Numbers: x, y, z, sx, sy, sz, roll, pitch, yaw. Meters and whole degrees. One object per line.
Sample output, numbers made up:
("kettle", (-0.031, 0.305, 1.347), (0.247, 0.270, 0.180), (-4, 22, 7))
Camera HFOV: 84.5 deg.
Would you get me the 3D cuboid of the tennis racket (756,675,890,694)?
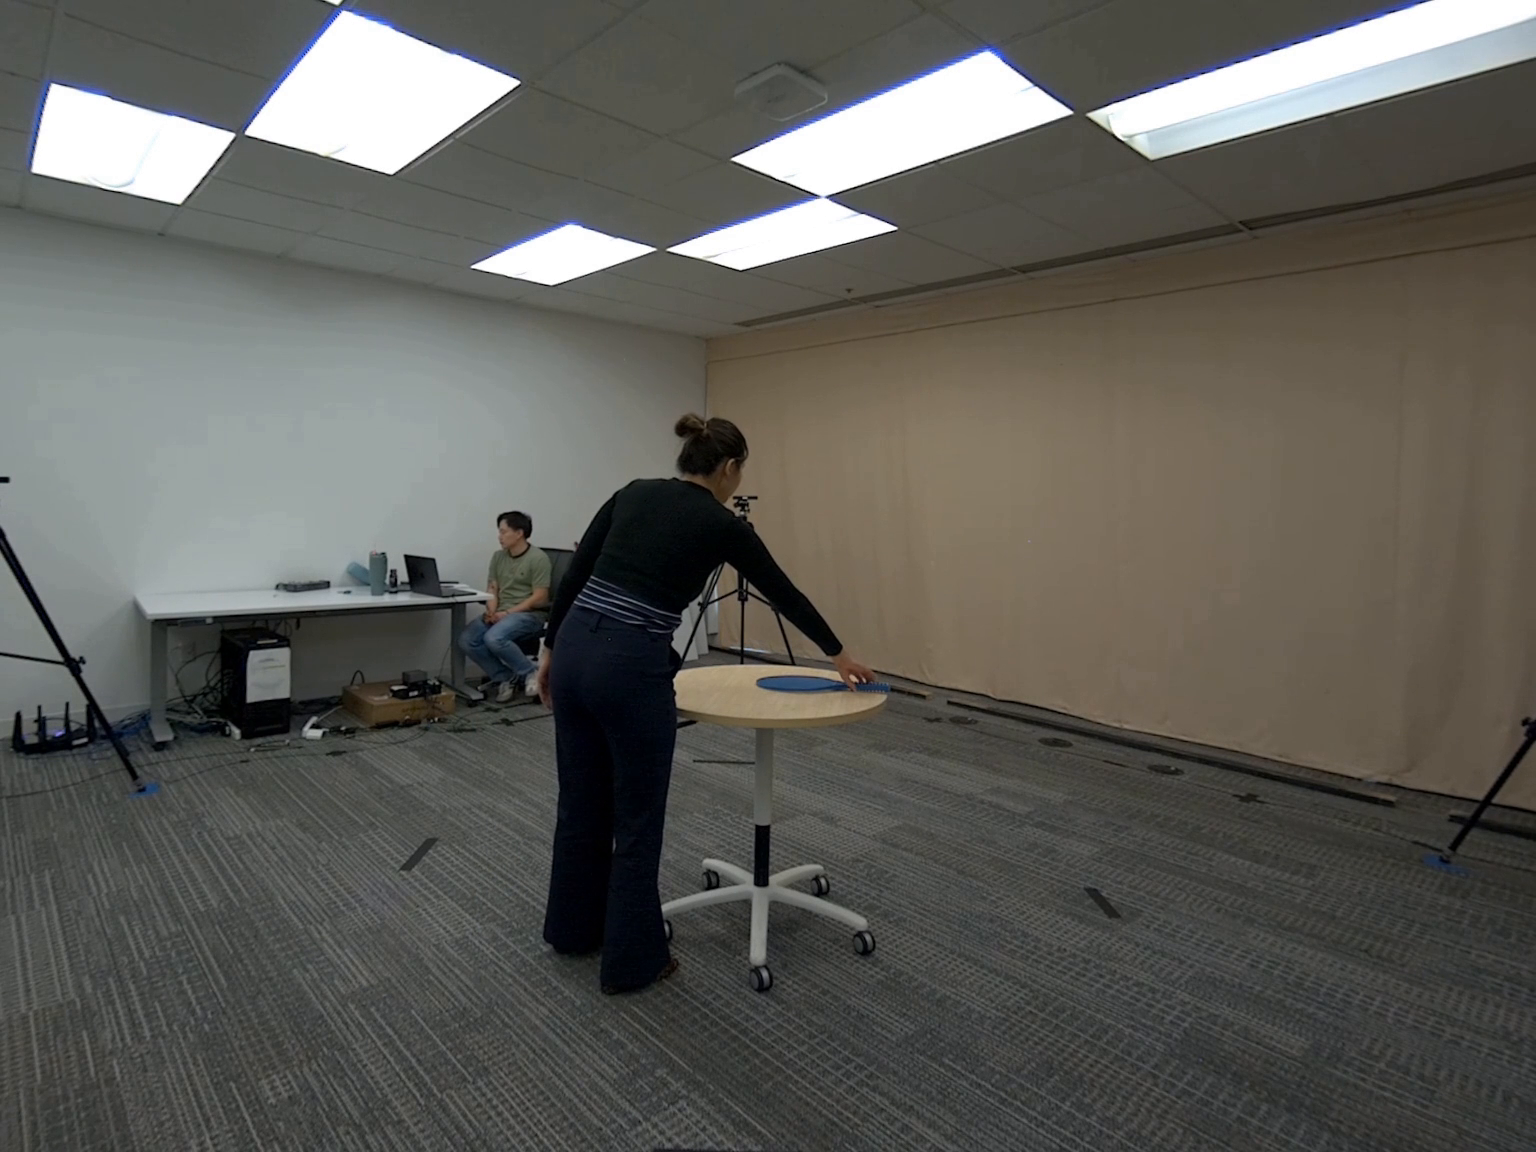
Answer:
("tennis racket", (0.176, 0.351, 2.705), (0.439, 0.031, 0.211), (1, 5, 18))
